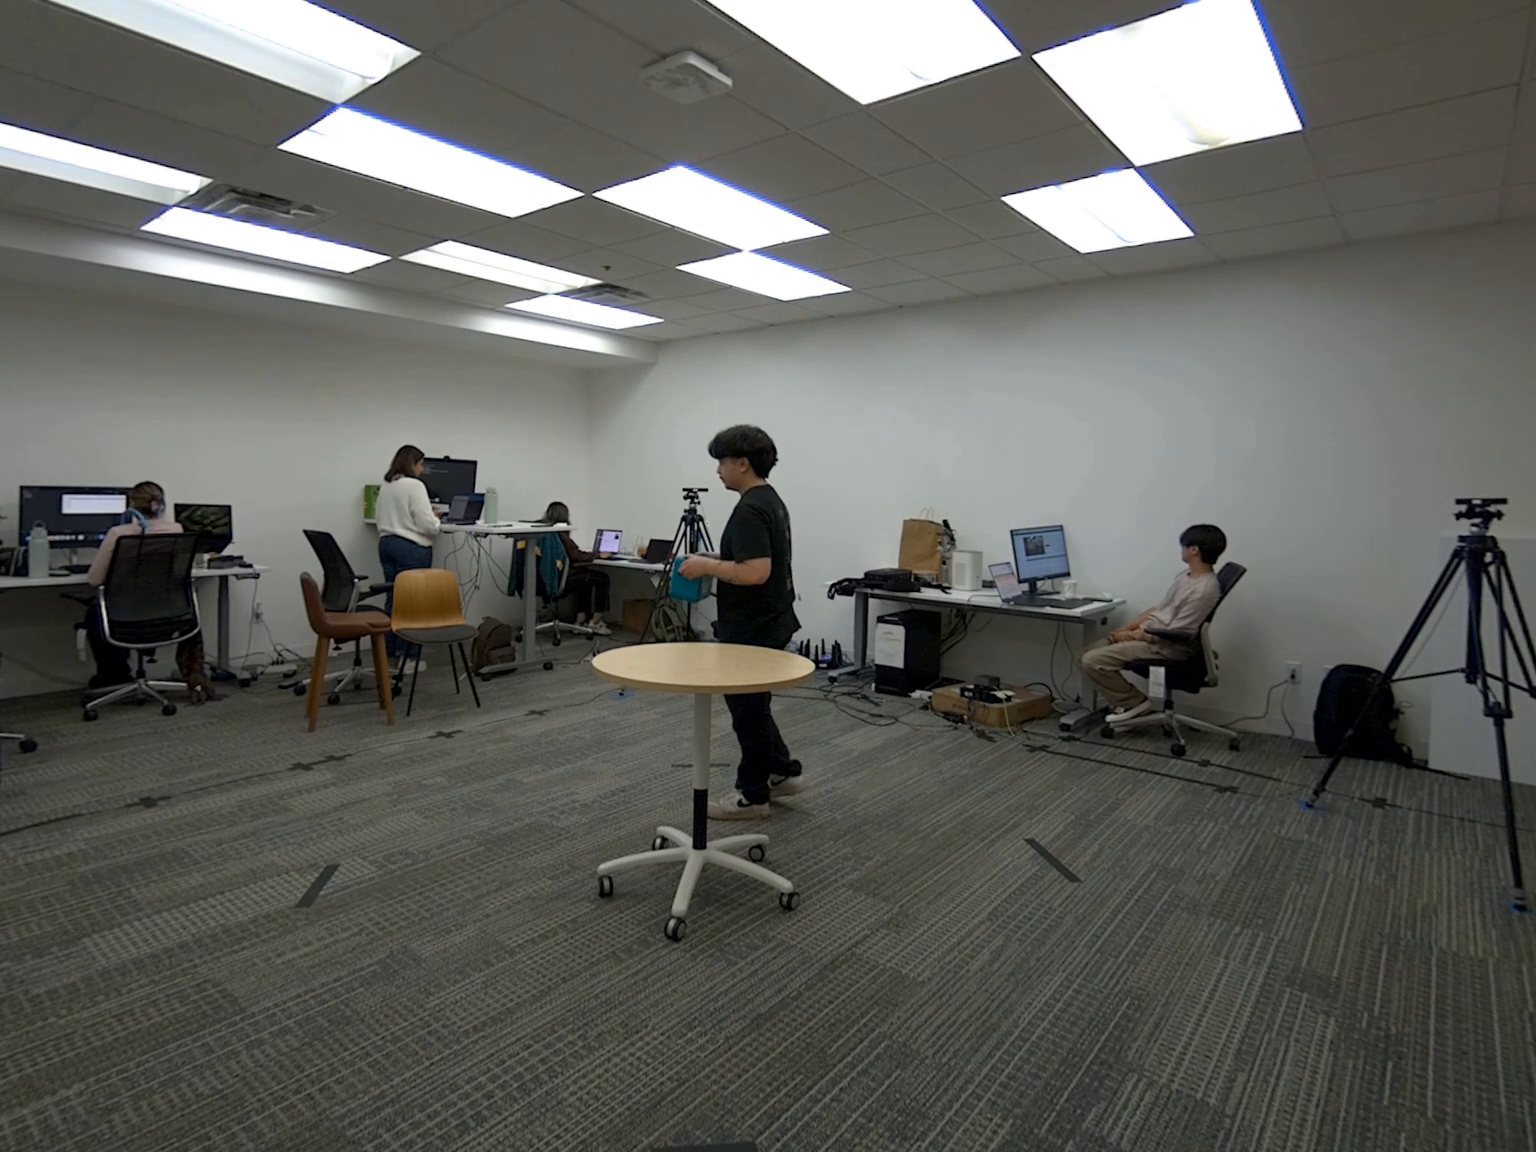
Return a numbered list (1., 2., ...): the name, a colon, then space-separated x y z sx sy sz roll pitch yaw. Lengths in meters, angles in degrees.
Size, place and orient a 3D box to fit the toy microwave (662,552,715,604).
1. toy microwave: -0.335 0.001 3.663 0.154 0.183 0.283 9 4 9
